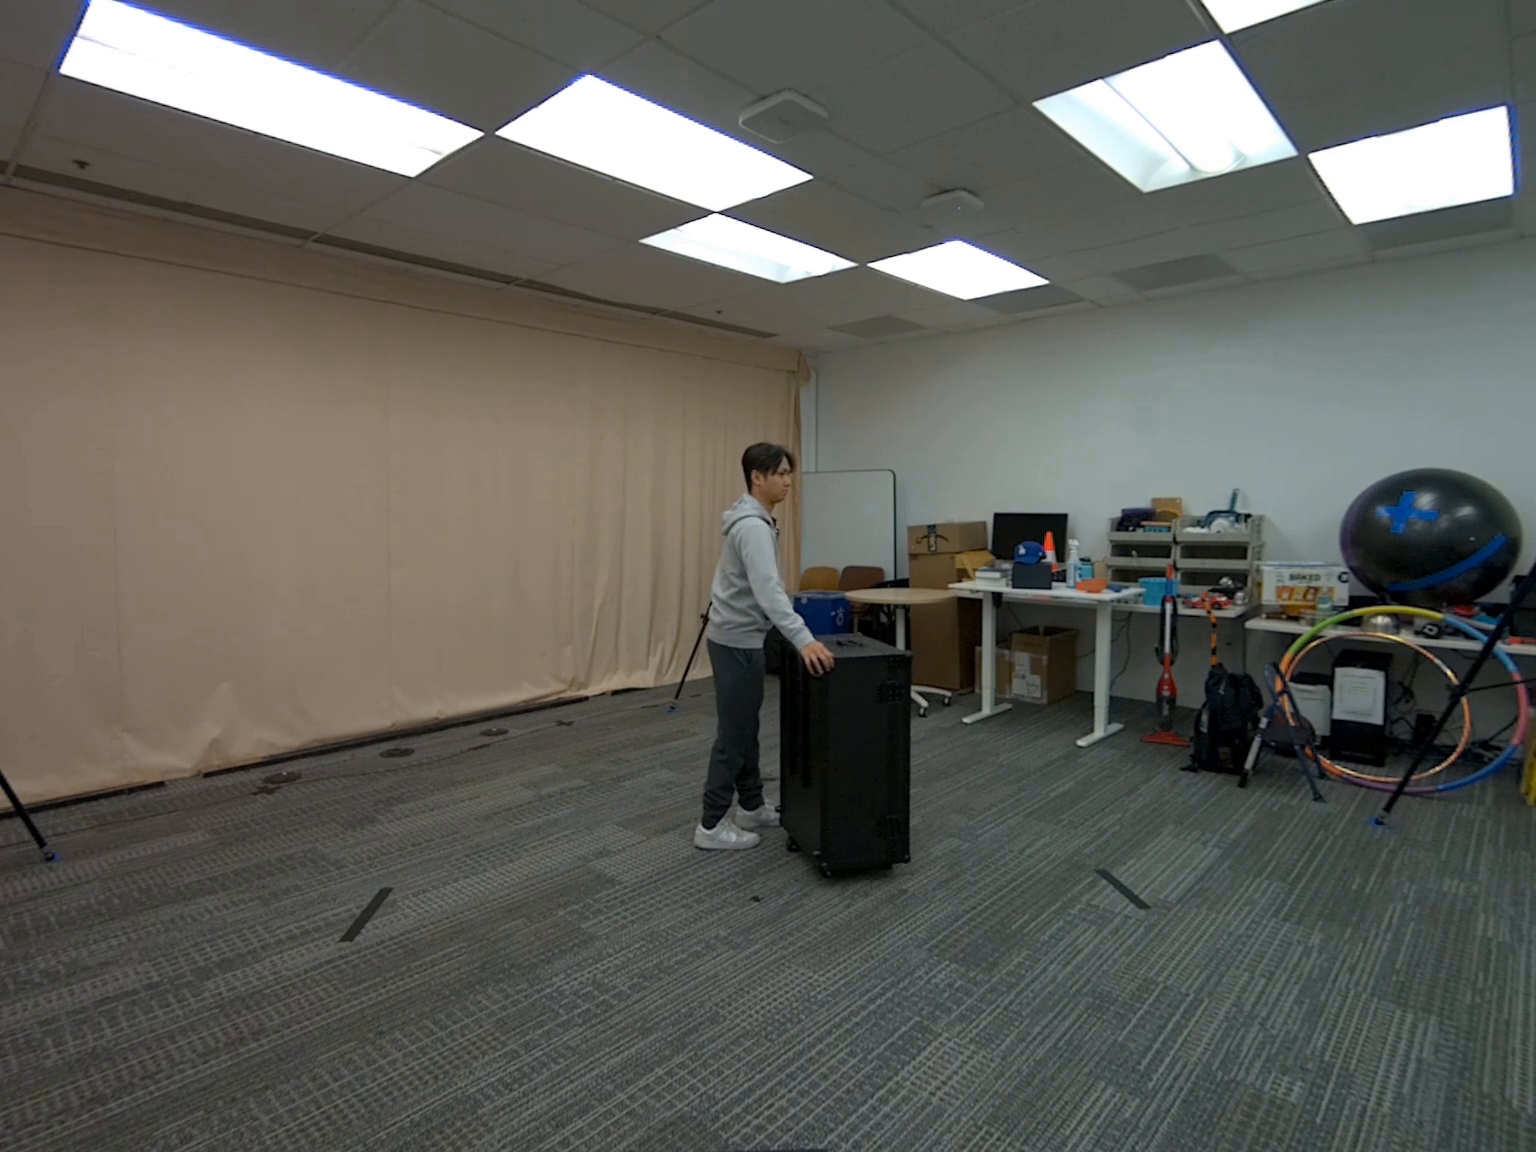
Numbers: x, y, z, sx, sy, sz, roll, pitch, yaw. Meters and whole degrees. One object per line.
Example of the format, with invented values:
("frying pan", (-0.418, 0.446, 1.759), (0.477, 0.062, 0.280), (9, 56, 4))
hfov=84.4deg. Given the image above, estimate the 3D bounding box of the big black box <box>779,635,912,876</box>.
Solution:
("big black box", (0.284, 0.691, 3.283), (0.390, 0.859, 0.531), (-1, 4, -16))
